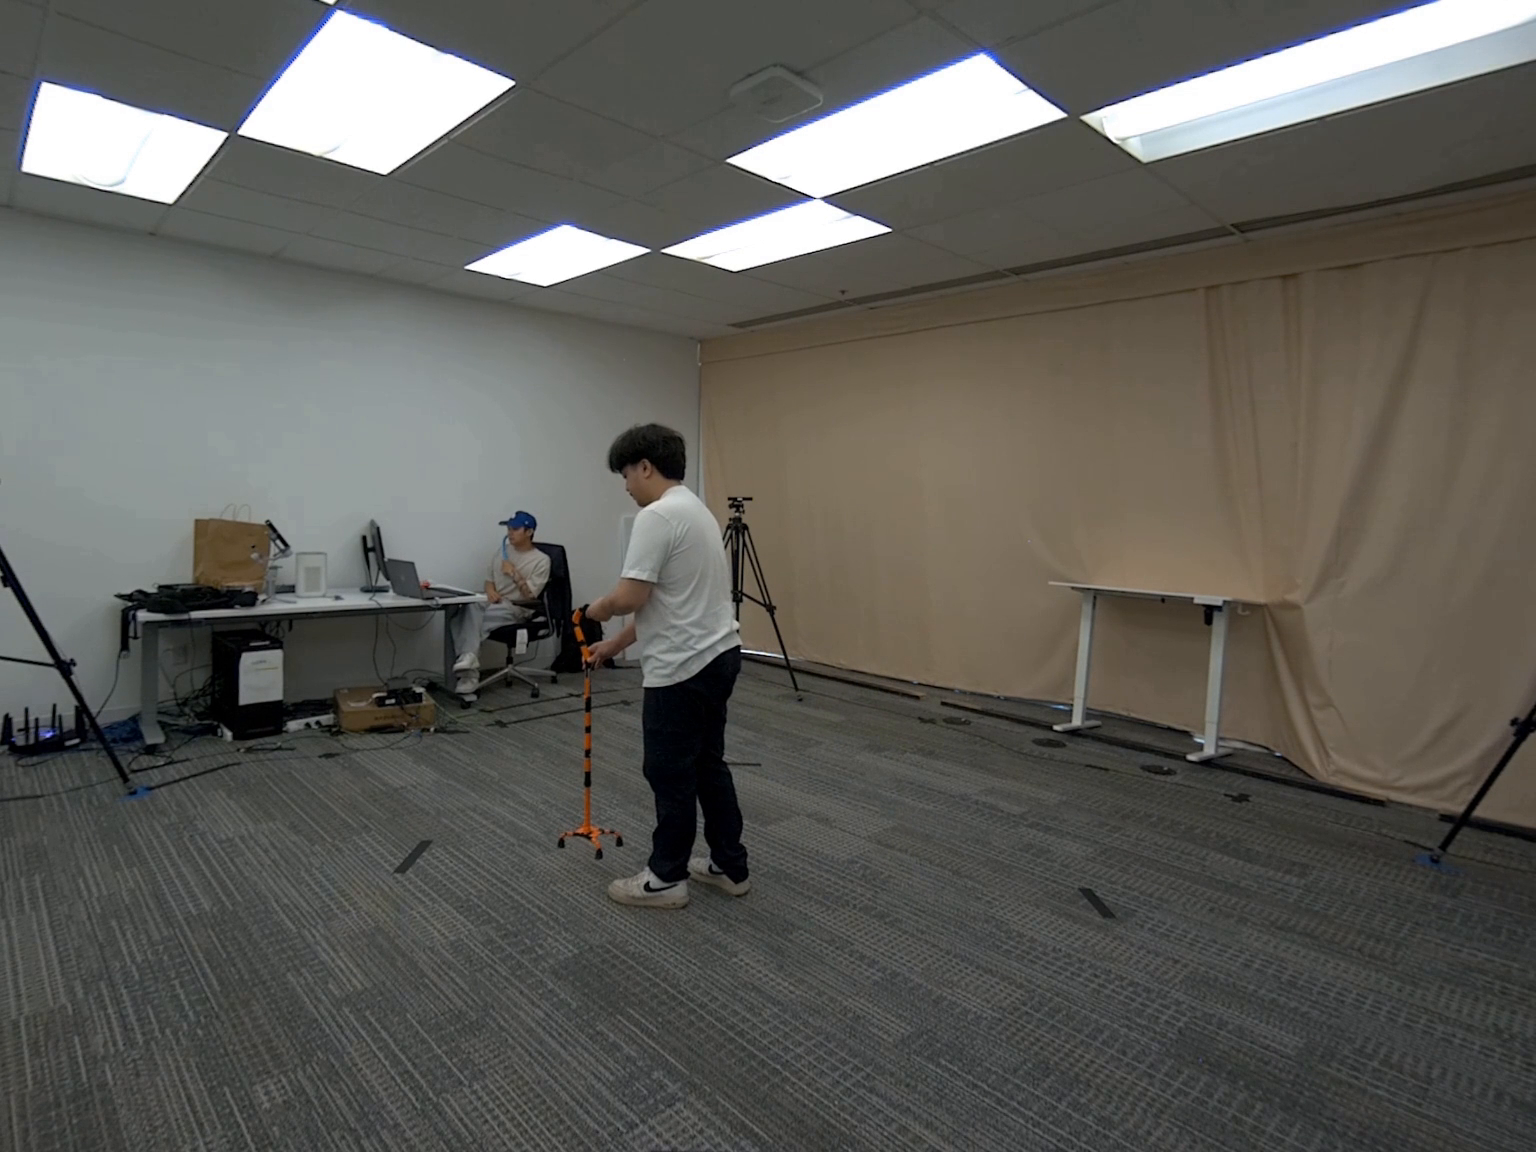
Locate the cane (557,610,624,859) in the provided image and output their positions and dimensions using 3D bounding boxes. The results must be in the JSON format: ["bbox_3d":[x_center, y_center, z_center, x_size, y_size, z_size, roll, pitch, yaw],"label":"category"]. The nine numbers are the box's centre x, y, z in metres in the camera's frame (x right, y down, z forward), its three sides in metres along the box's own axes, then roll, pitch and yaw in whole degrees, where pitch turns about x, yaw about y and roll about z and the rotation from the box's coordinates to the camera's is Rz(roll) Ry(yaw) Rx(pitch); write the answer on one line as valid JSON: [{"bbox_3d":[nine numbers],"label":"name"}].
[{"bbox_3d":[-0.661,0.566,3.106,0.211,0.905,0.149,3,5,27],"label":"cane"}]
